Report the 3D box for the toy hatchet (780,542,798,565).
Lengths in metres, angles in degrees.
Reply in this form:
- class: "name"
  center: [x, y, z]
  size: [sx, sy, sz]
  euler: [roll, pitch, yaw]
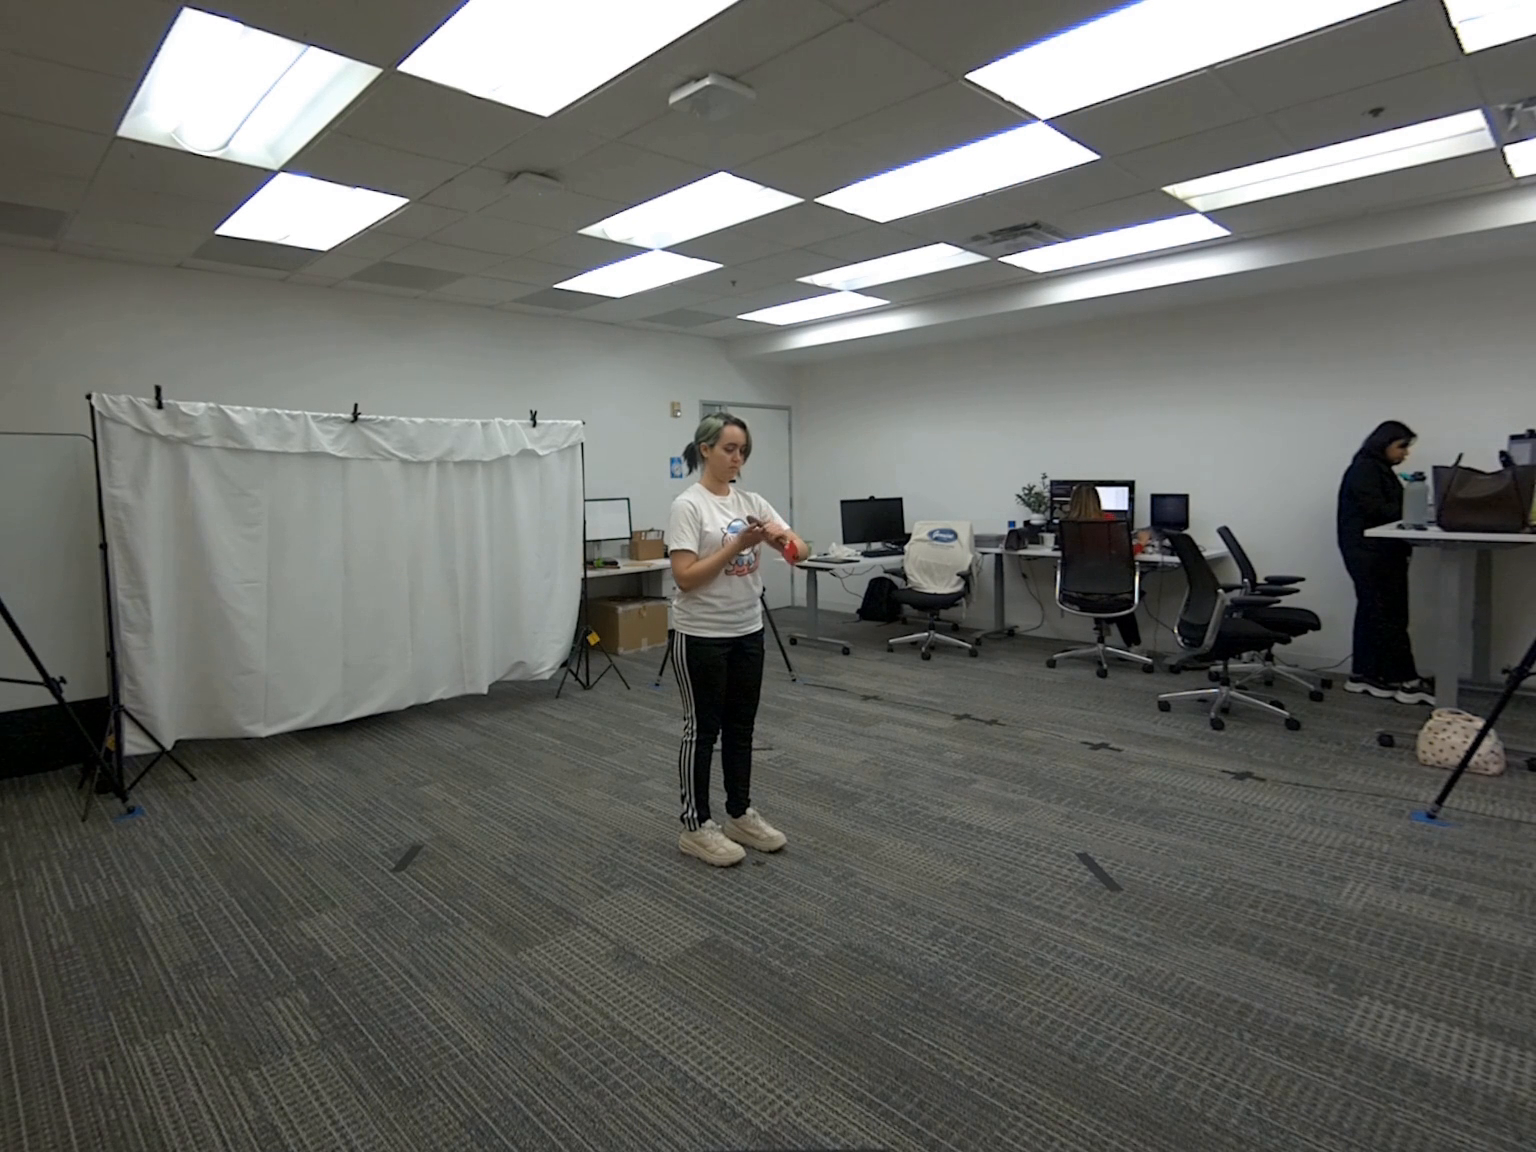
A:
- class: "toy hatchet"
  center: [0.030, -0.117, 2.968]
  size: [0.029, 0.127, 0.280]
  euler: [-29, 34, -14]
